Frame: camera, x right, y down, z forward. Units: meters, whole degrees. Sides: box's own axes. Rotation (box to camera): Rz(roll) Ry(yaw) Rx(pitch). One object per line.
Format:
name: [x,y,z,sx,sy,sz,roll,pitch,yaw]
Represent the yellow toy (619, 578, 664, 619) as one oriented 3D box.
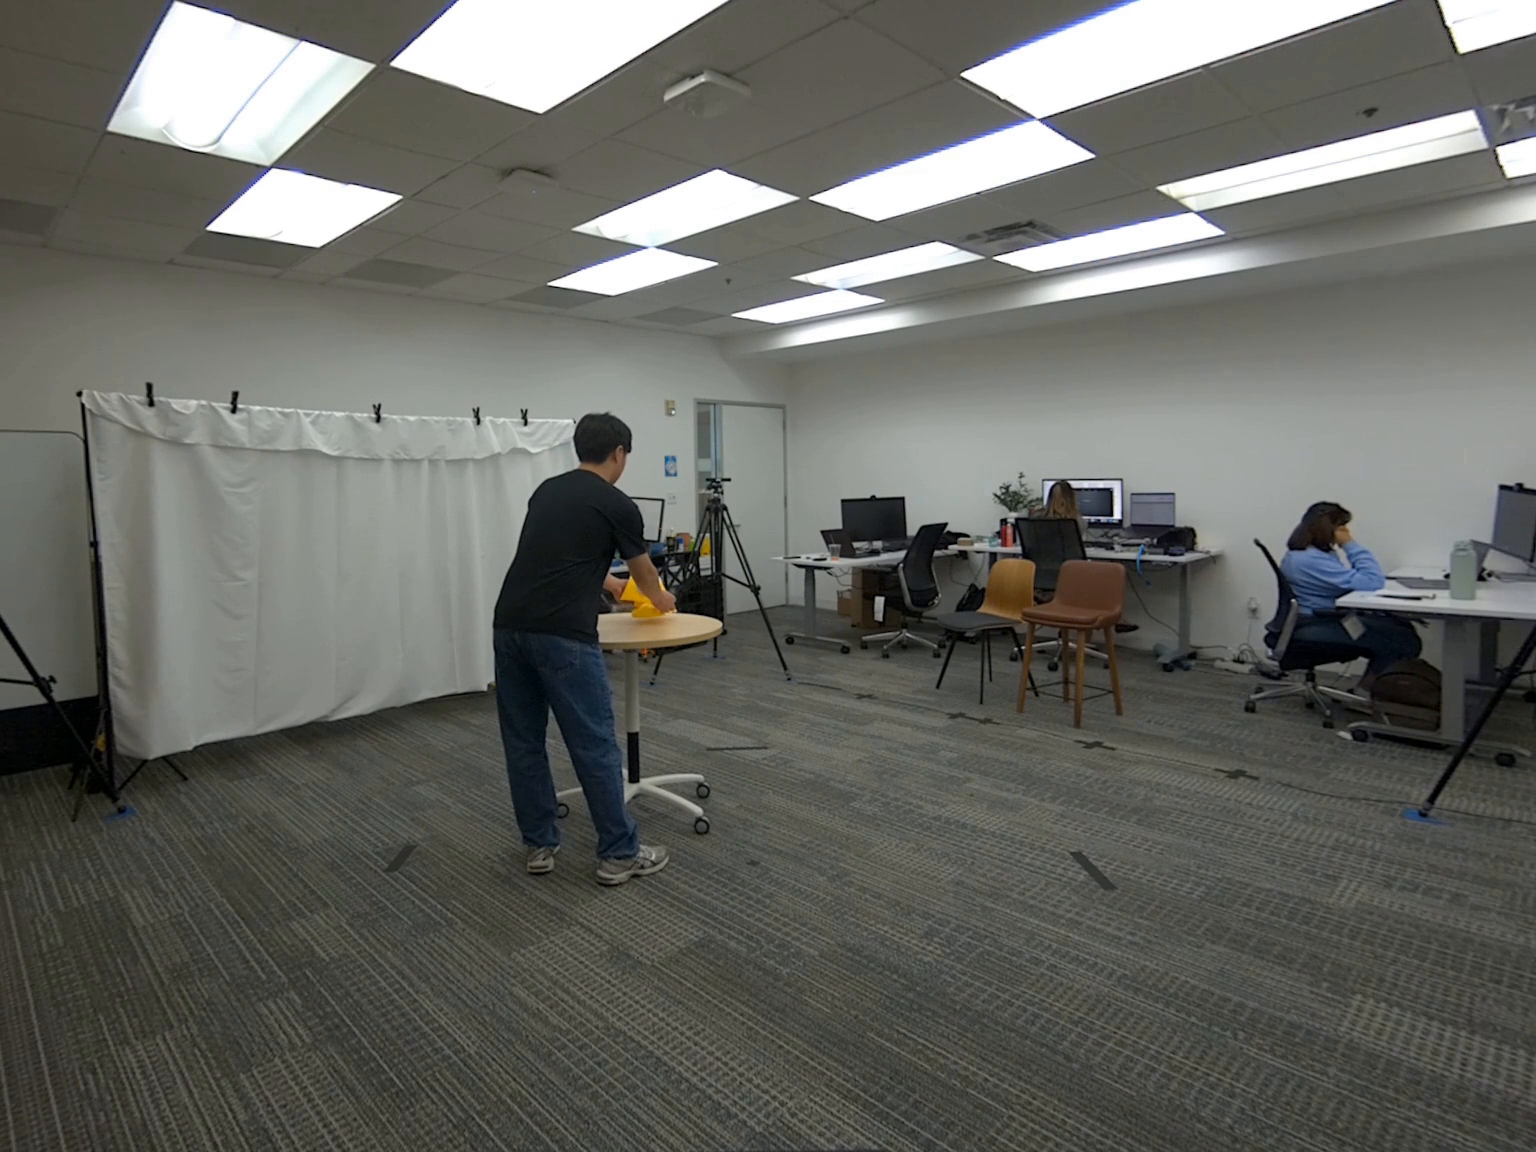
yellow toy: [-0.503,0.048,3.658,0.196,0.230,0.202,-2,5,19]
